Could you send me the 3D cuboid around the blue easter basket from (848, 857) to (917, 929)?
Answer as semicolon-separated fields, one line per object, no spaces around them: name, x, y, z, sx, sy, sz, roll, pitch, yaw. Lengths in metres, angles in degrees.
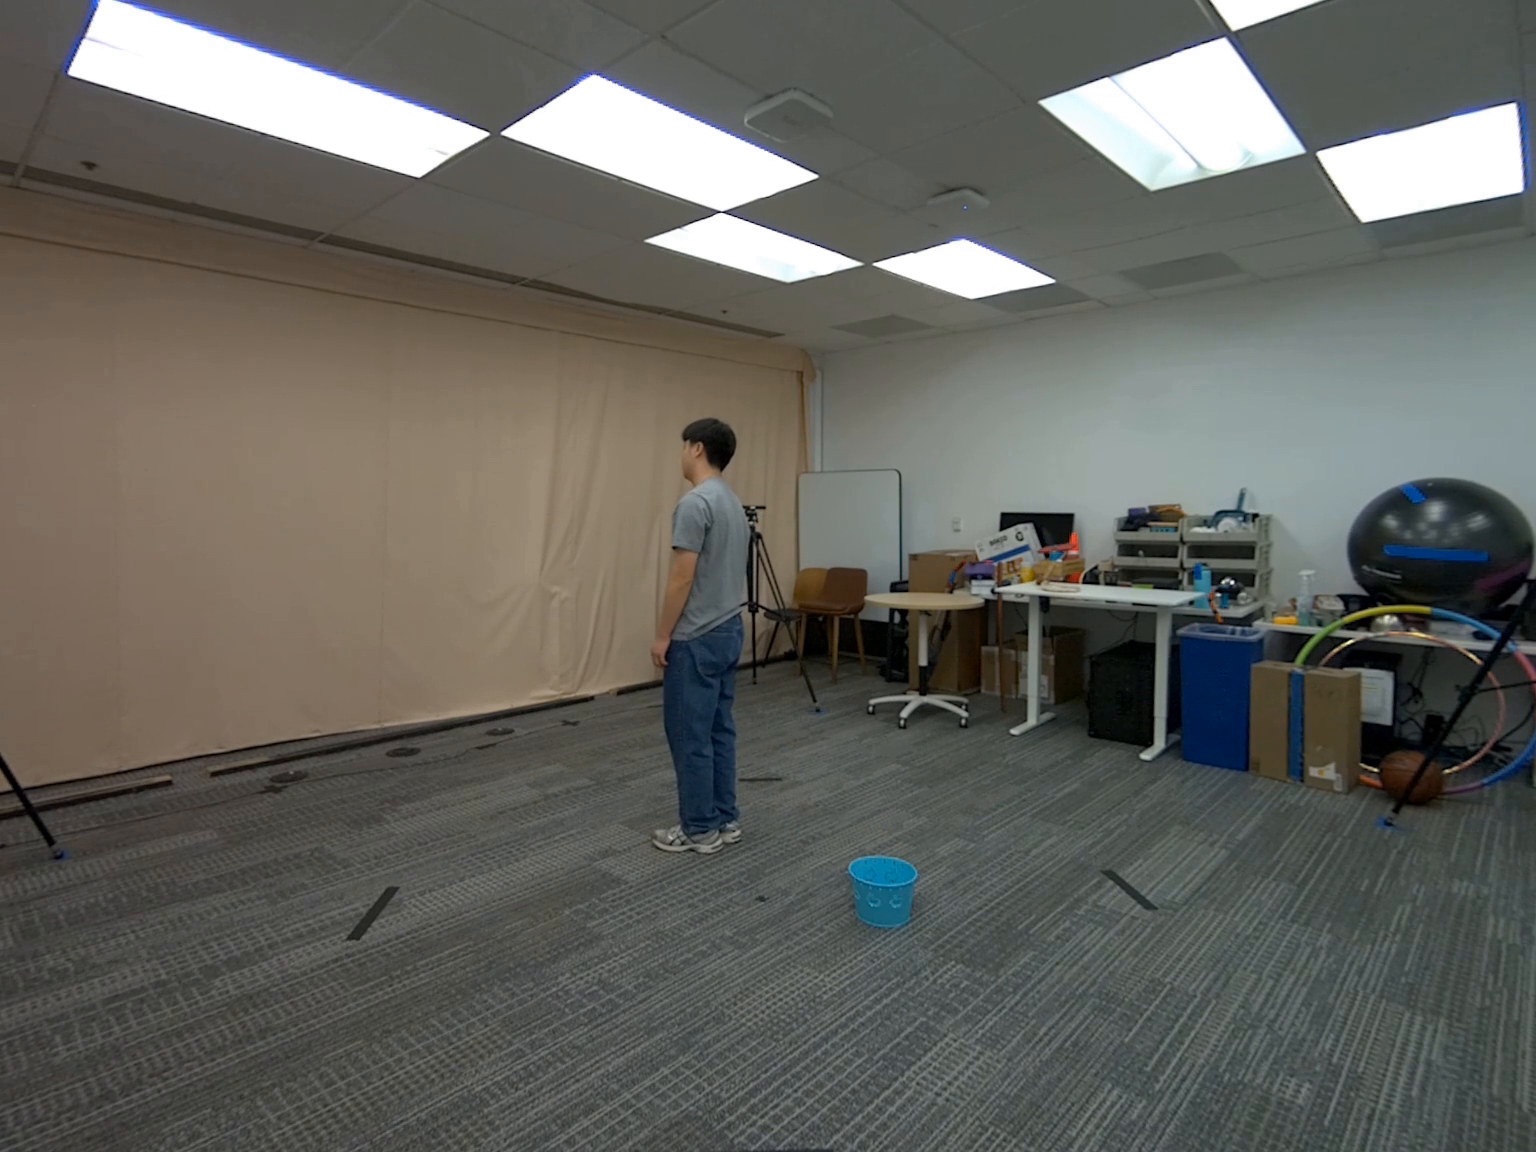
blue easter basket;0.399;1.074;2.865;0.243;0.155;0.244;-1;5;-2
